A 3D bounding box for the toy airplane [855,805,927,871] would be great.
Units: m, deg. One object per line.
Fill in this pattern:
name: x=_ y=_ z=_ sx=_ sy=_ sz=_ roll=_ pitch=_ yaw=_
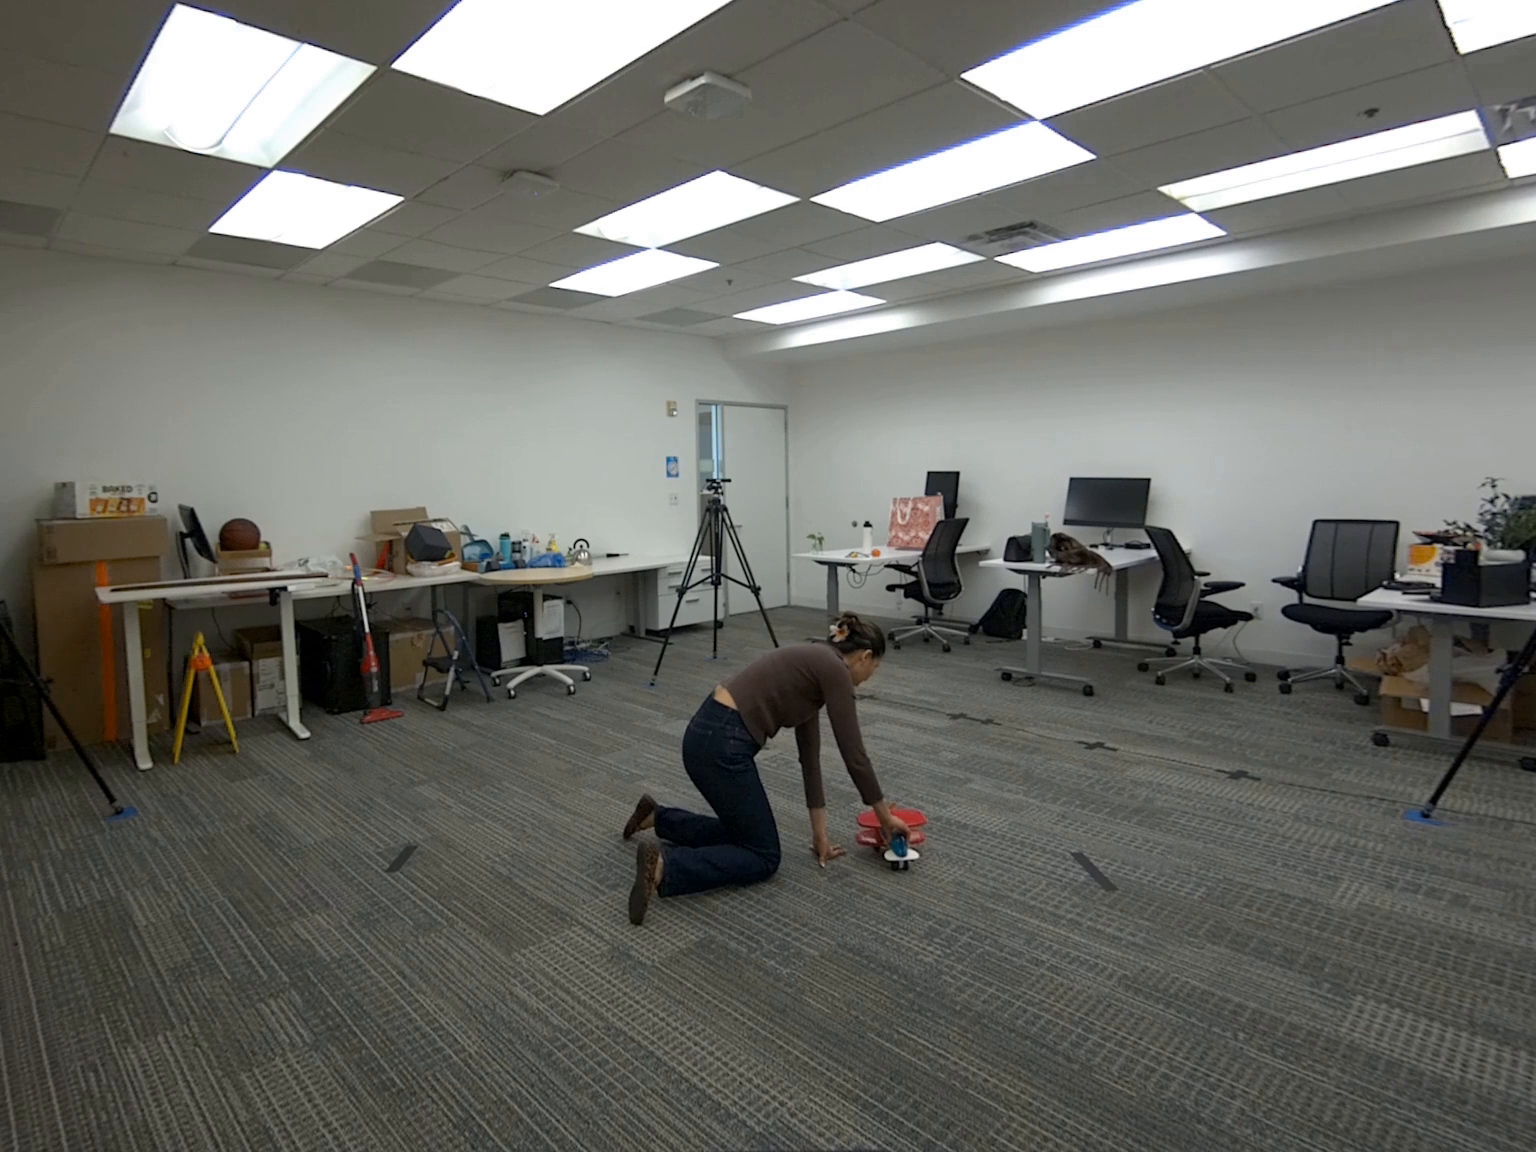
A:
toy airplane: x=0.475 y=0.957 z=3.127 sx=0.245 sy=0.156 sz=0.267 roll=-4 pitch=6 yaw=-34
